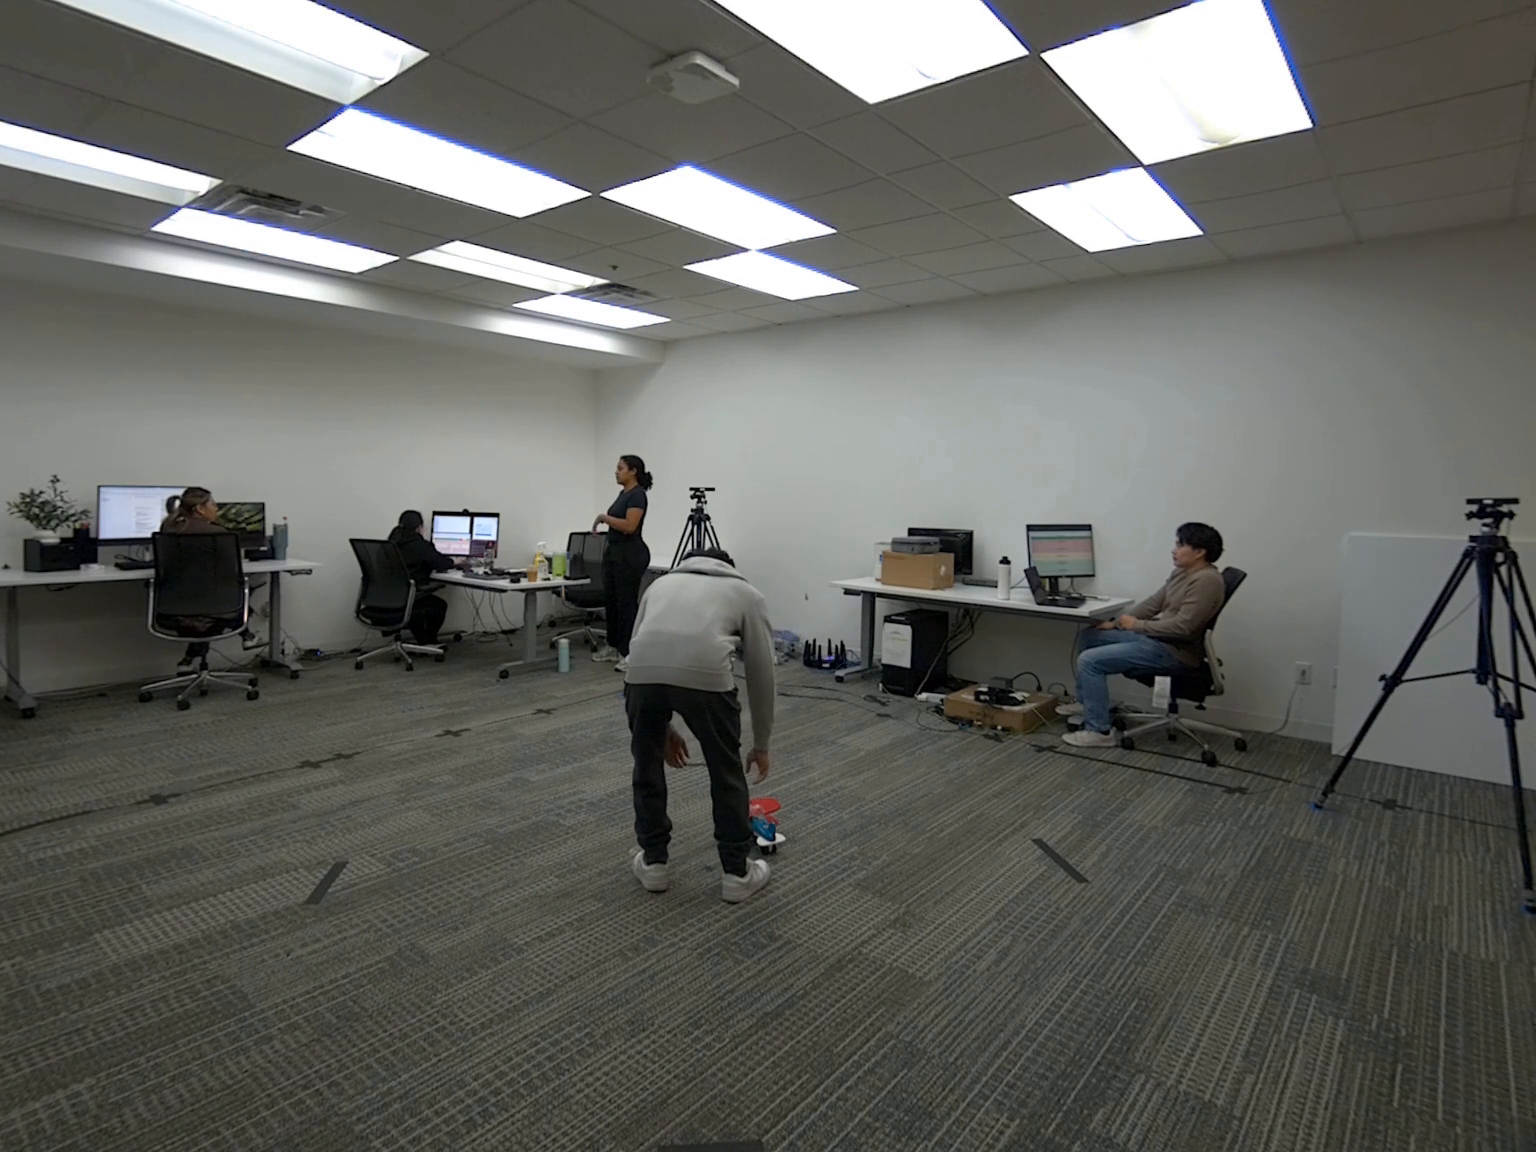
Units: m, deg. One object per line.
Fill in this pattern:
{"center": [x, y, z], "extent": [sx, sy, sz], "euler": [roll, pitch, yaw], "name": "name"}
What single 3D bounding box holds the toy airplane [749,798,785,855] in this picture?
{"center": [-0.044, 0.970, 3.334], "extent": [0.267, 0.156, 0.245], "euler": [3, 5, 29], "name": "toy airplane"}
